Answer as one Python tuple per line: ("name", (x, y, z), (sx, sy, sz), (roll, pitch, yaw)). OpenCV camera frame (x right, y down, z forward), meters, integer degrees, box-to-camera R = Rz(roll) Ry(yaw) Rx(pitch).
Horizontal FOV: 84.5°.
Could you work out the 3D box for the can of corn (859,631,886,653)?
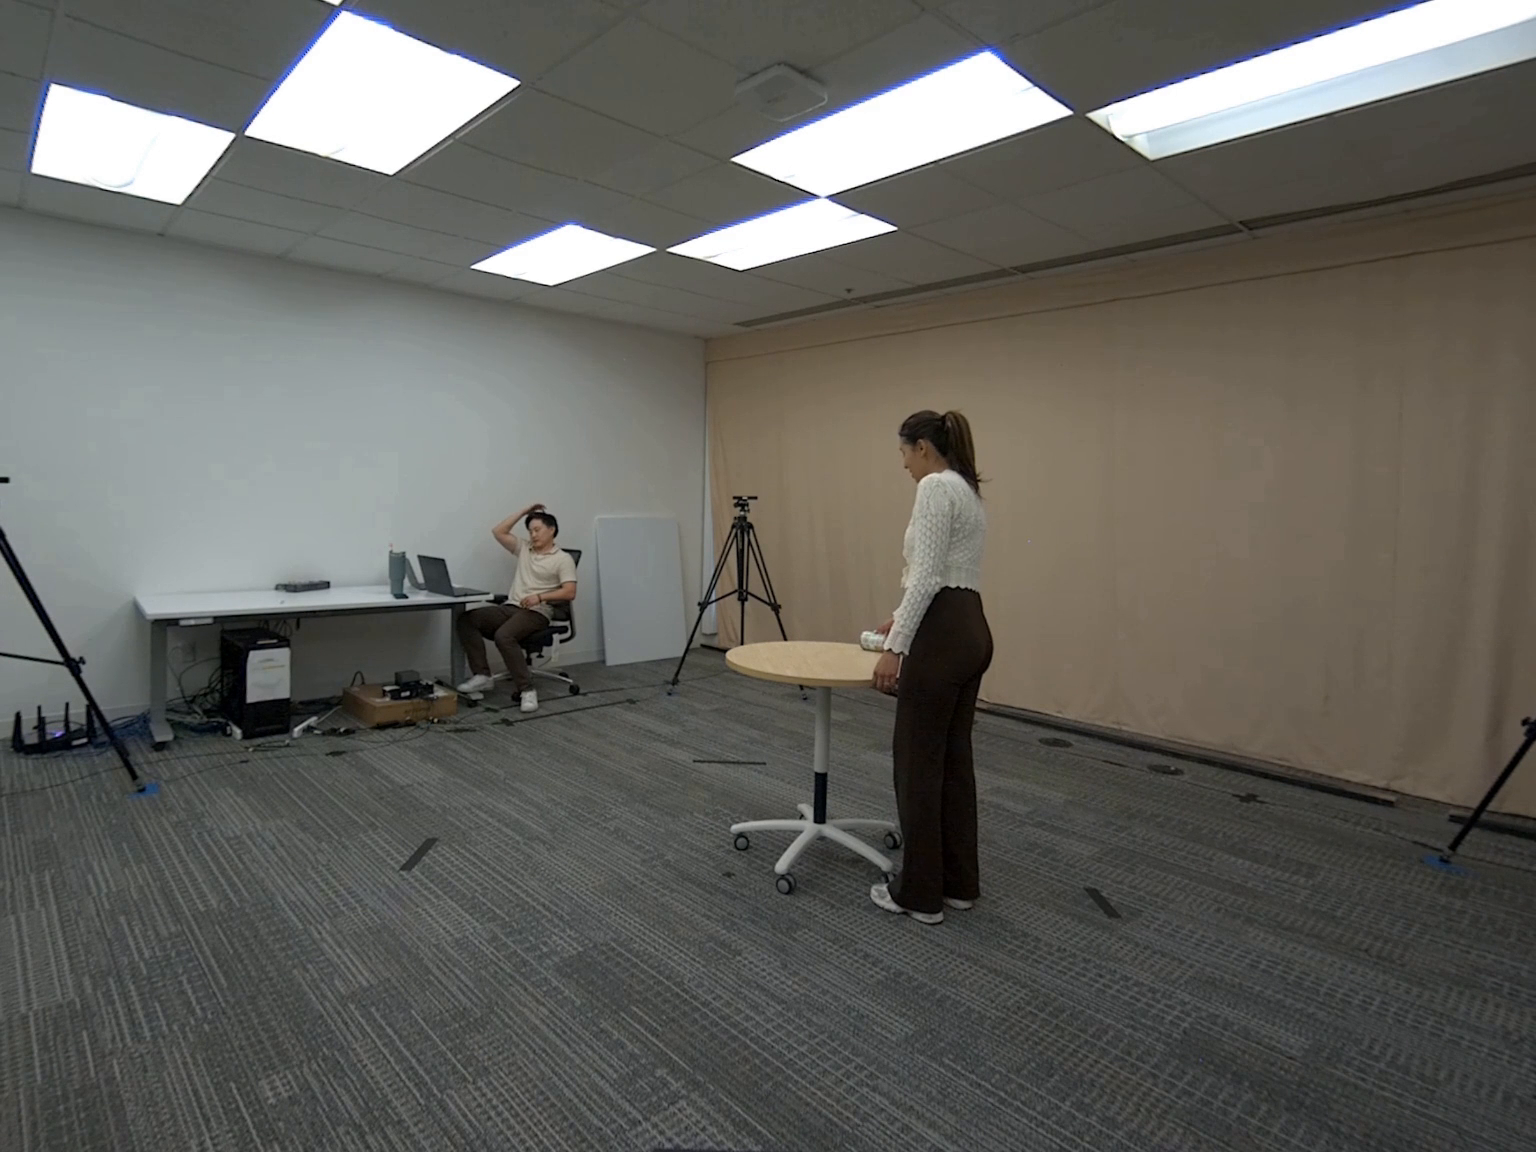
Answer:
("can of corn", (0.434, 0.267, 3.432), (0.114, 0.074, 0.072), (9, 8, 39))
